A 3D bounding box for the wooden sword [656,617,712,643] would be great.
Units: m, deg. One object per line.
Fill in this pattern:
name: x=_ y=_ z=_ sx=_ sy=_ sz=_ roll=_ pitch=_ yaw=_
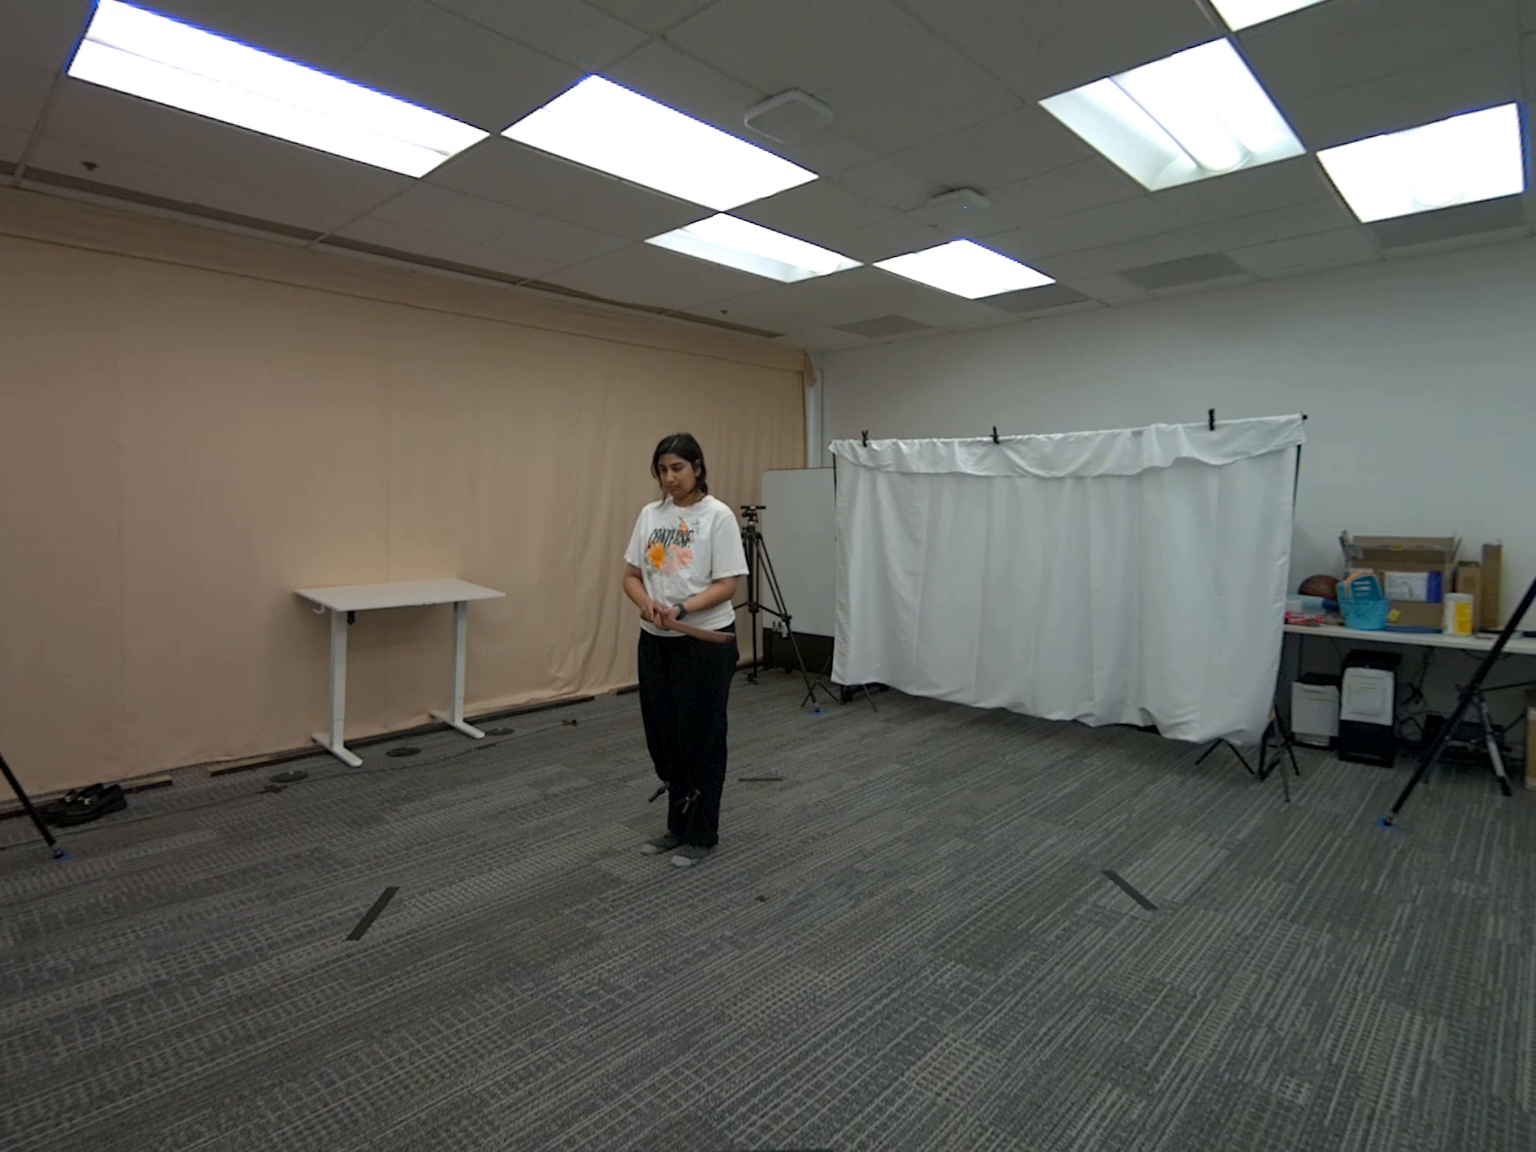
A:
wooden sword: x=-0.295 y=0.183 z=2.655 sx=0.024 sy=0.051 sz=1.036 roll=19 pitch=-4 yaw=-12
